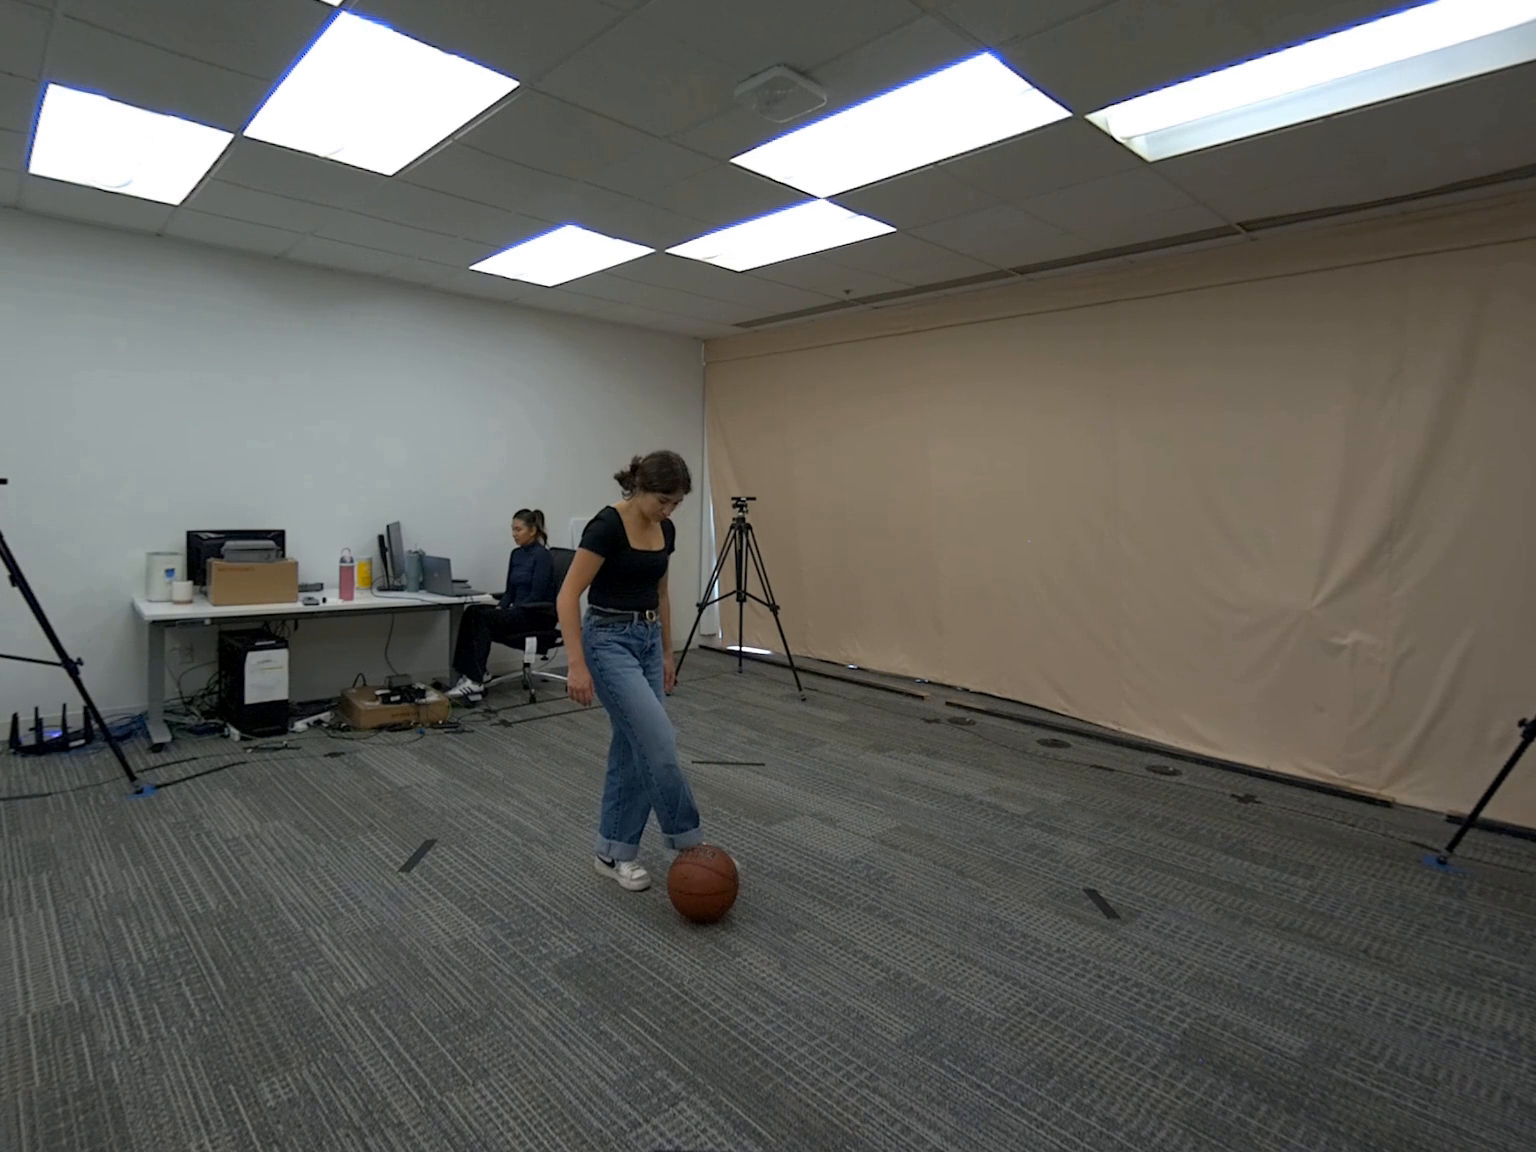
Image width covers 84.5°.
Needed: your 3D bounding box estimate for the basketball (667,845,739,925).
[{"bbox_3d":[-0.221,1.015,2.779,0.236,0.235,0.237,1,4,-1],"label":"basketball"}]
